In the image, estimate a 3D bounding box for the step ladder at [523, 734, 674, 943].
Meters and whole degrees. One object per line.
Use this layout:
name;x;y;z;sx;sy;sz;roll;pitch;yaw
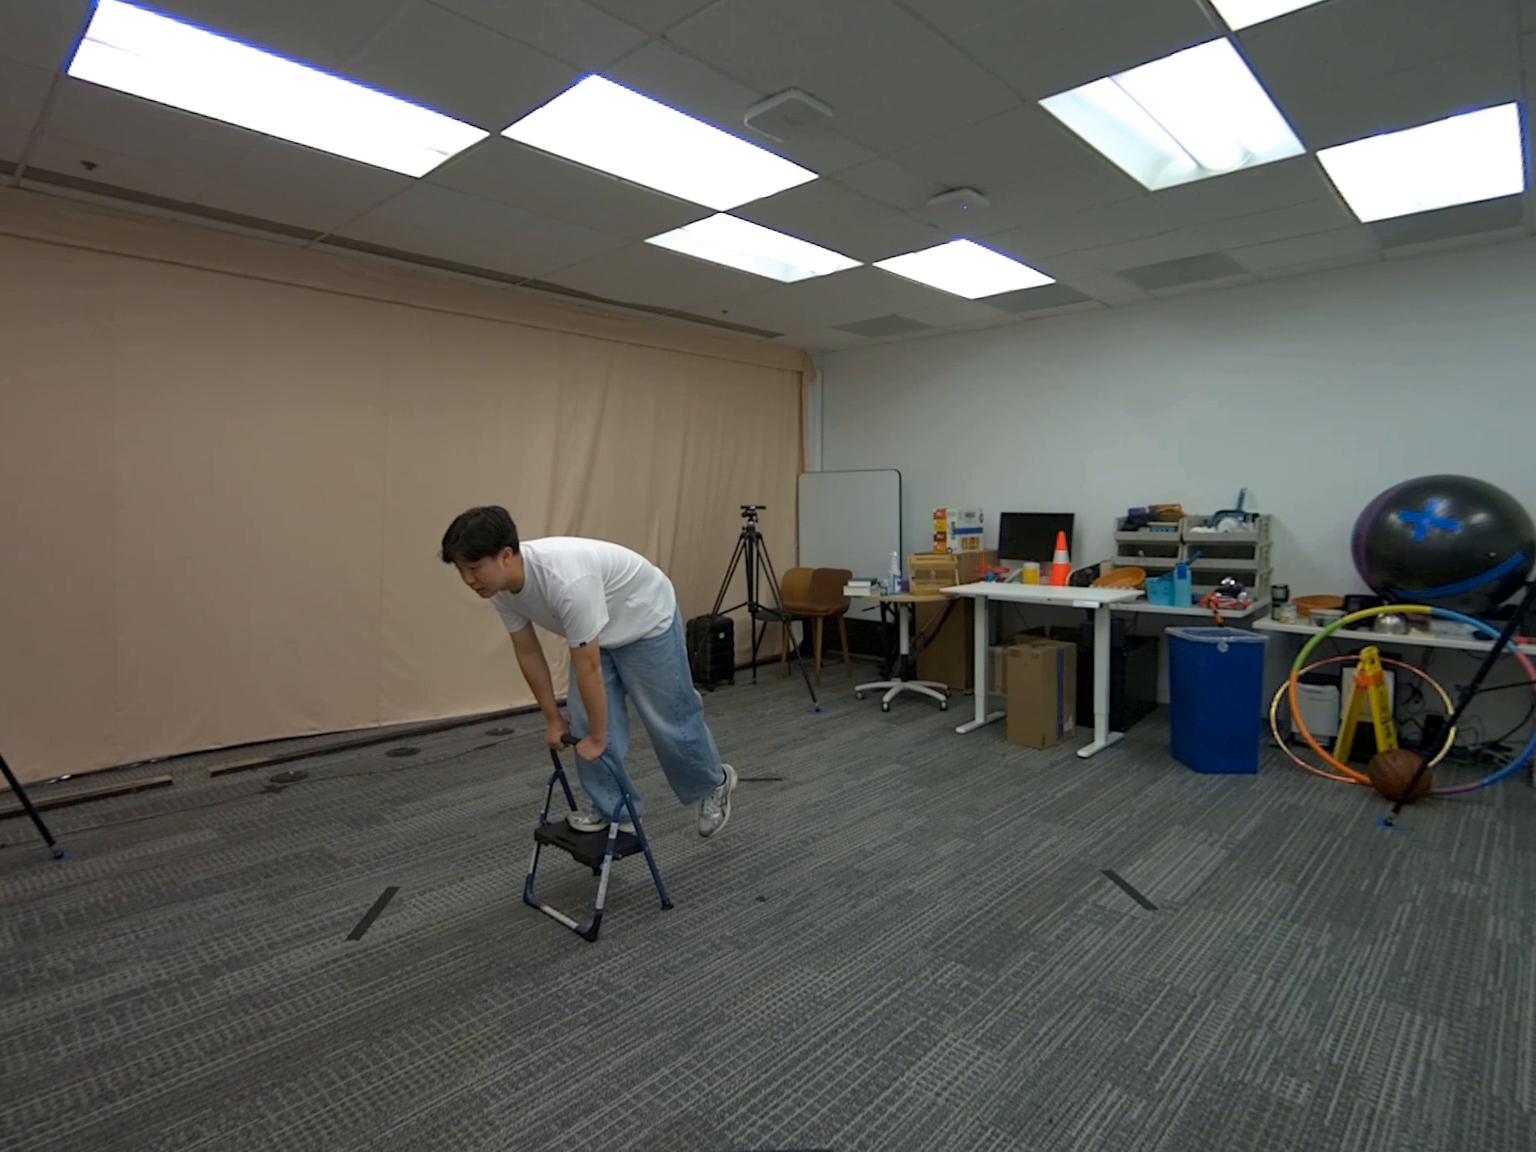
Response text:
step ladder;-0.604;0.850;2.934;0.445;0.605;0.338;2;4;43
